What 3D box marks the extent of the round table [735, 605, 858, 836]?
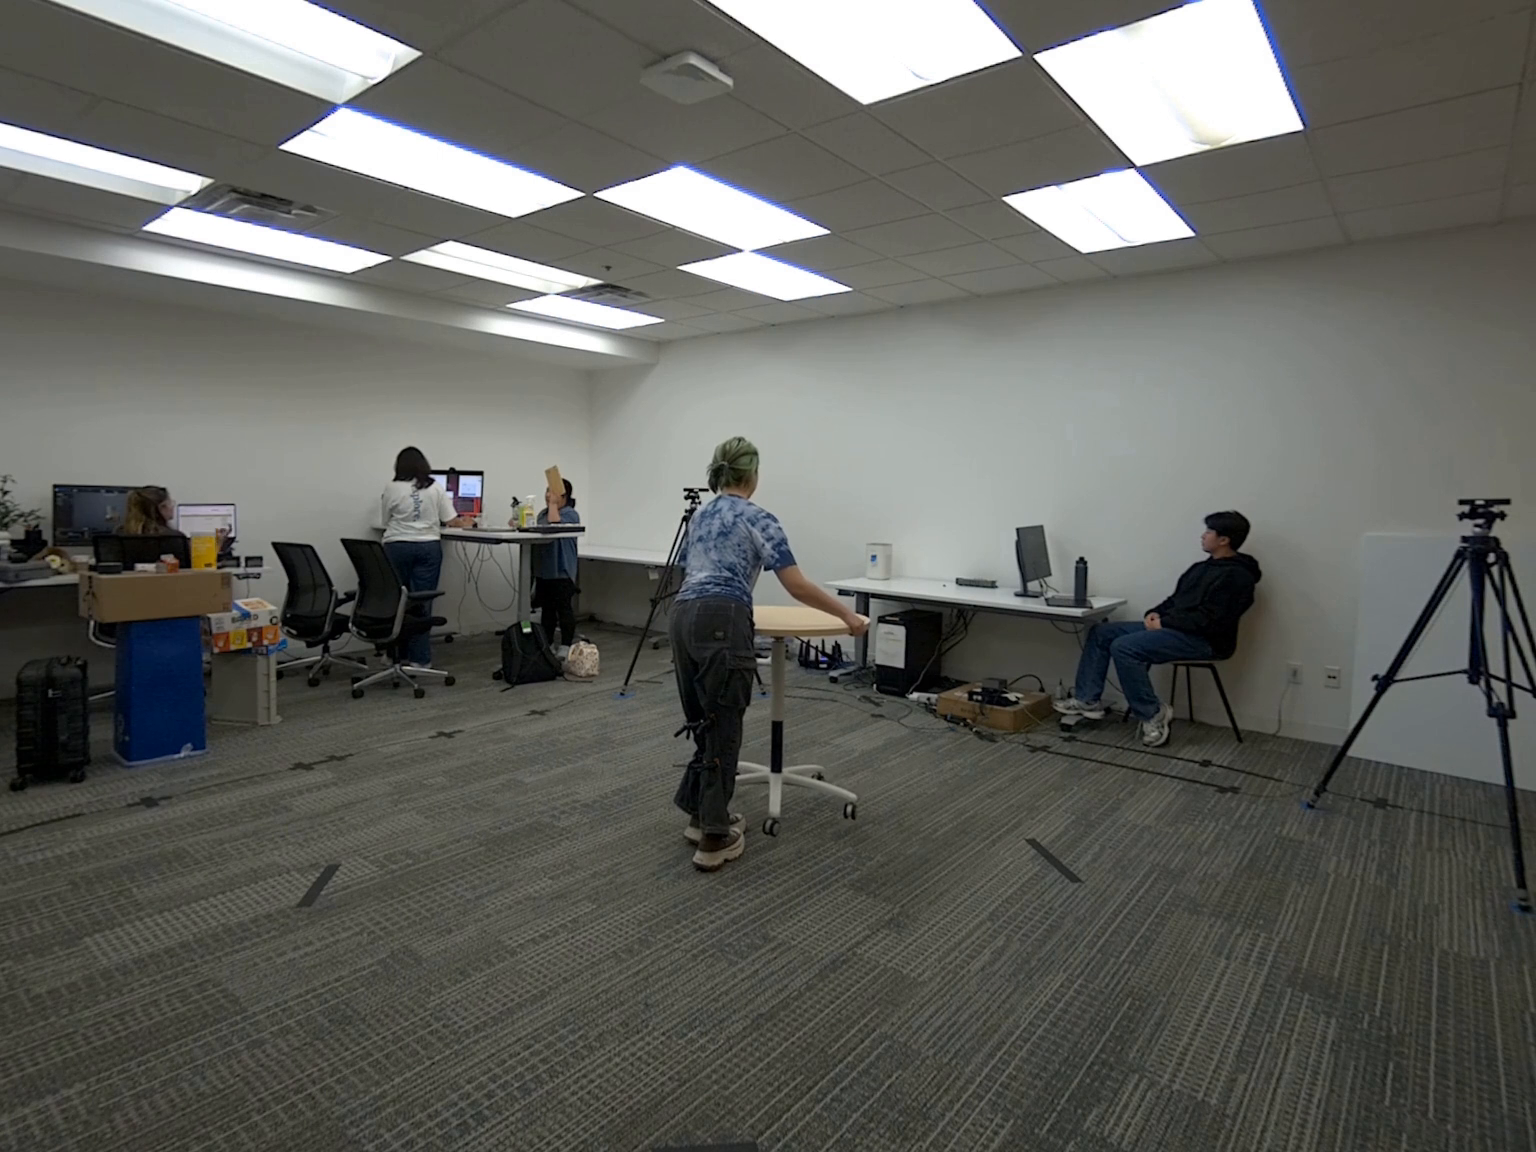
[{"bbox_3d":[0.031,0.578,3.624,0.763,0.793,0.766,1,2,-2],"label":"round table"}]
